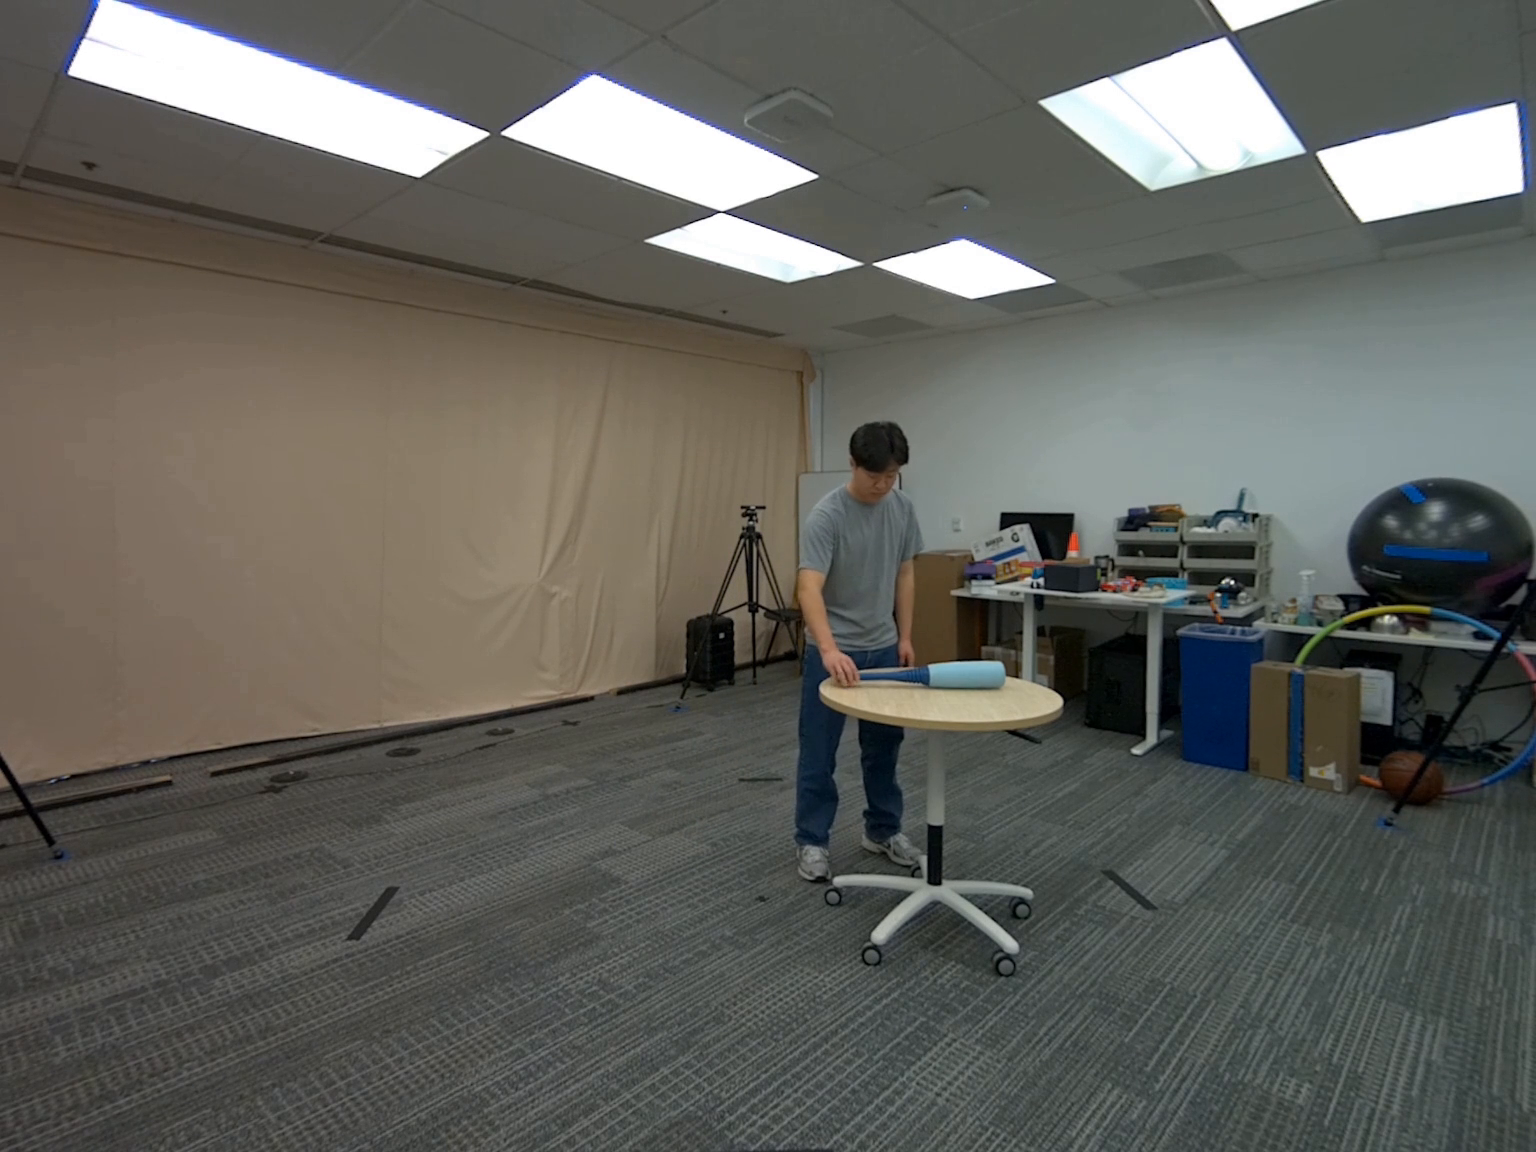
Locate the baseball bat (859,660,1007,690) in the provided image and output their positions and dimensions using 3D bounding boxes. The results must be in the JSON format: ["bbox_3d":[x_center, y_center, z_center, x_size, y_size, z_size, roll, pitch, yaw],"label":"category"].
[{"bbox_3d":[0.525,0.324,2.800,0.545,0.089,0.089,-1,4,3],"label":"baseball bat"}]
